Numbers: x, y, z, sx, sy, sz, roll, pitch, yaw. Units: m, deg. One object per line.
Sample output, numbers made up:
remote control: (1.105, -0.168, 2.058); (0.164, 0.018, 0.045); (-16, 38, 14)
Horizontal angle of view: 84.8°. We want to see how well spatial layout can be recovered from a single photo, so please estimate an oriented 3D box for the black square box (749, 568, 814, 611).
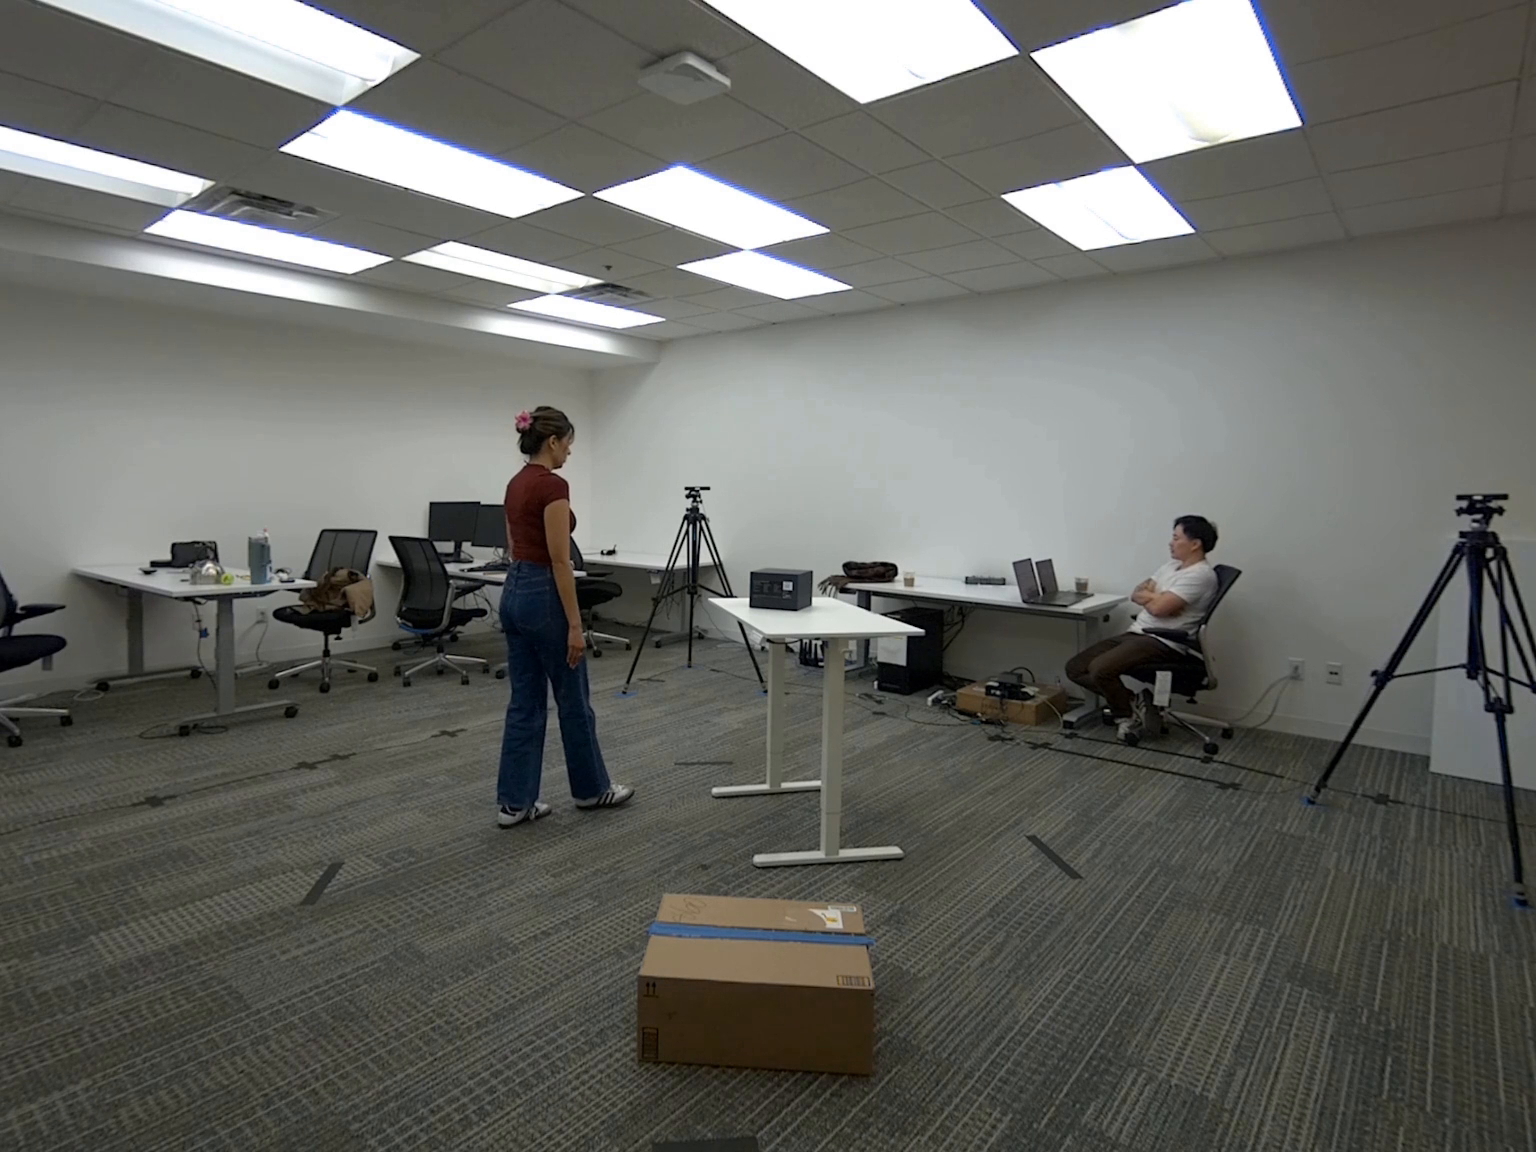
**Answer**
black square box: (0.051, 0.052, 3.688); (0.222, 0.155, 0.224); (3, 5, 20)
